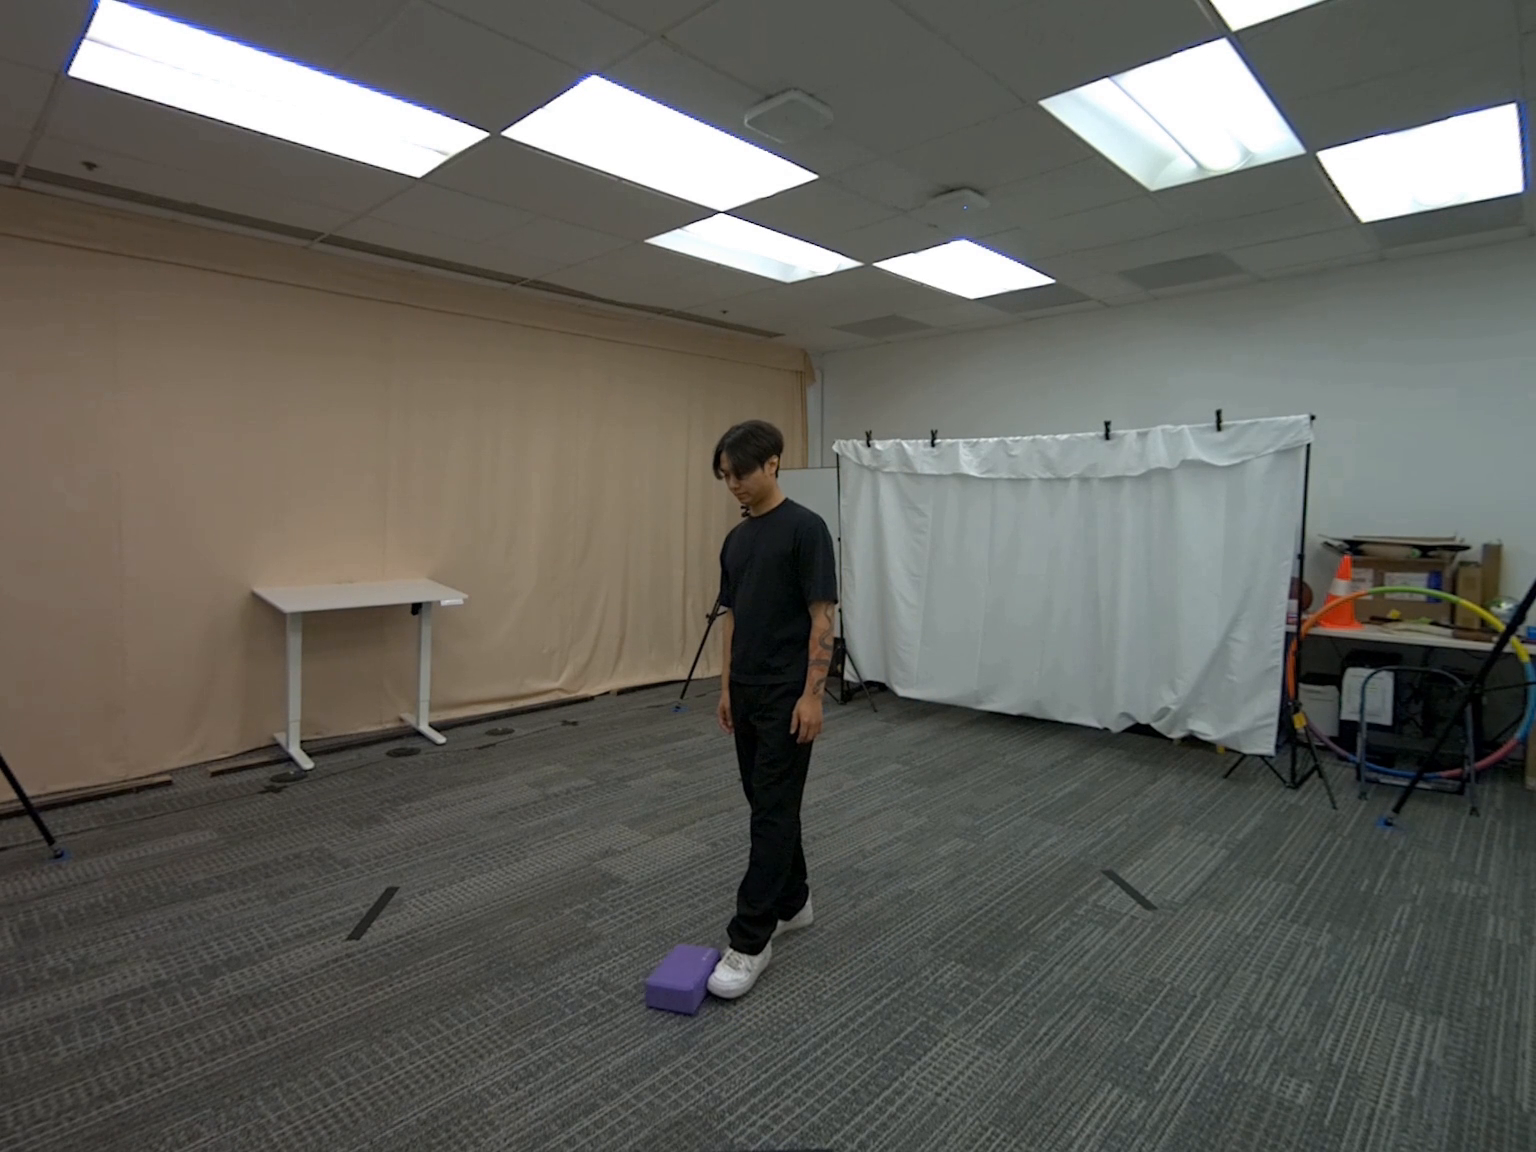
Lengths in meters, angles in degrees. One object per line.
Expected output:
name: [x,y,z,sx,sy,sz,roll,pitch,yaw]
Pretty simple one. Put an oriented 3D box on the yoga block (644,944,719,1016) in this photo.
yoga block: [-0.235,1.151,2.413,0.152,0.076,0.225,-2,4,18]
